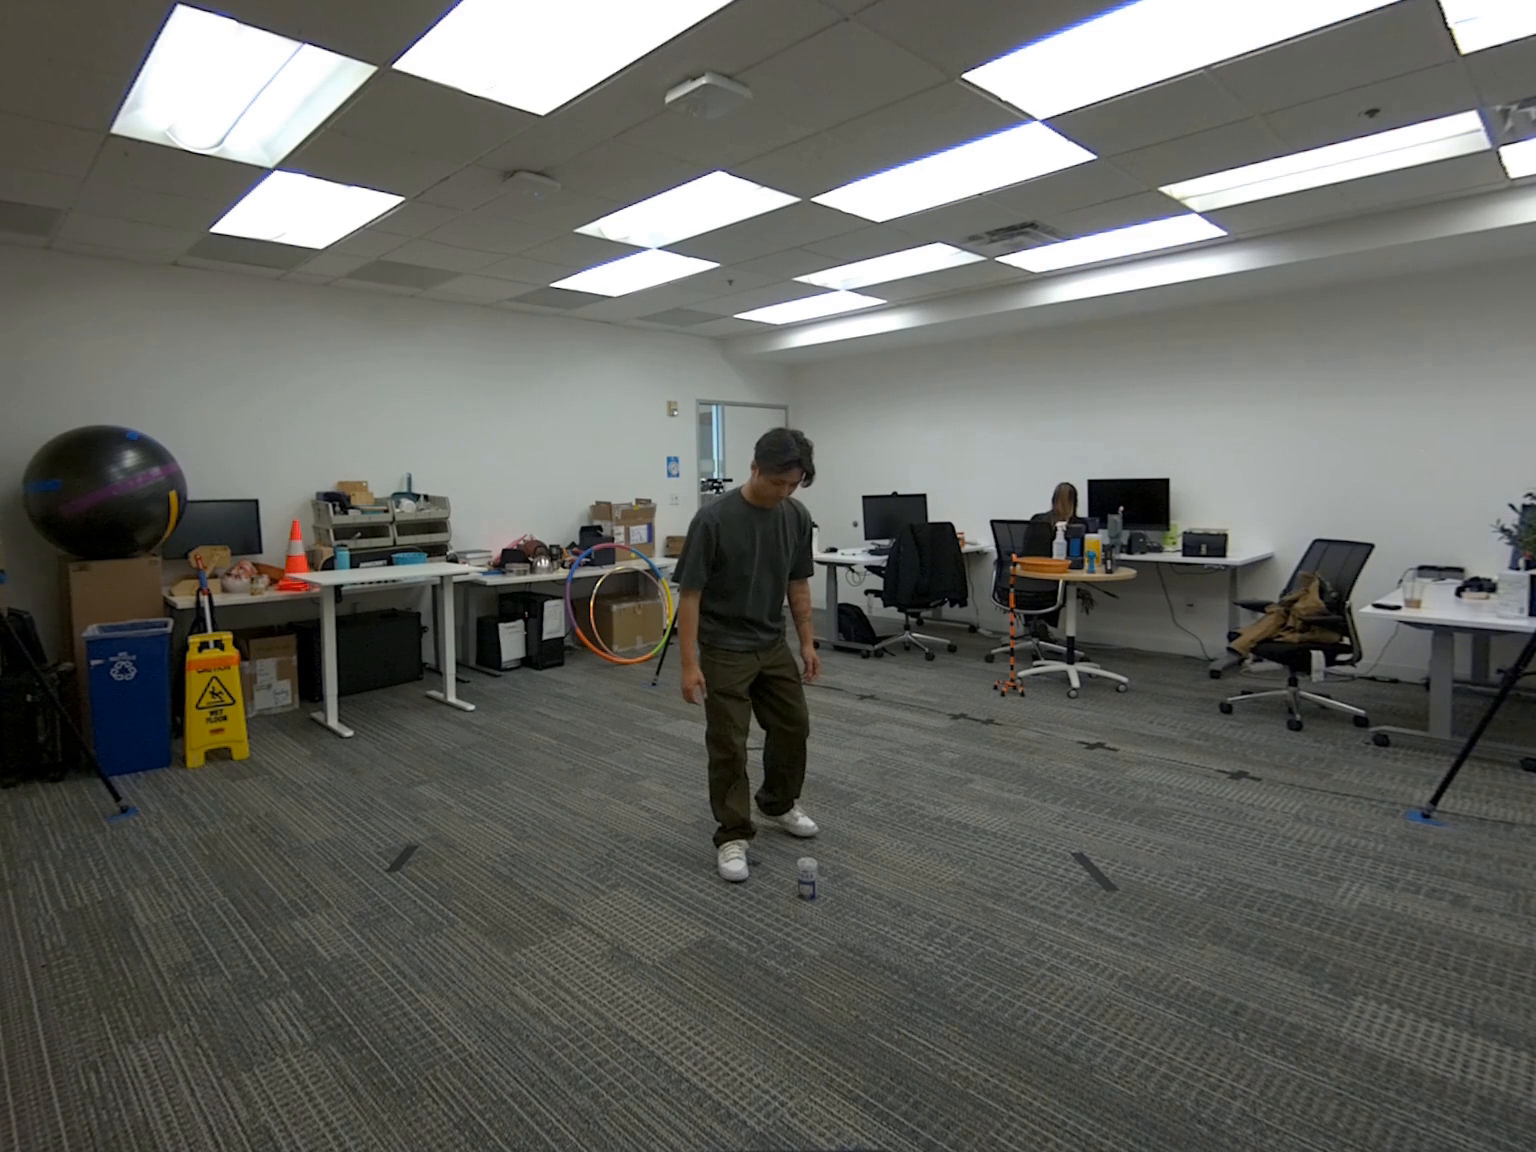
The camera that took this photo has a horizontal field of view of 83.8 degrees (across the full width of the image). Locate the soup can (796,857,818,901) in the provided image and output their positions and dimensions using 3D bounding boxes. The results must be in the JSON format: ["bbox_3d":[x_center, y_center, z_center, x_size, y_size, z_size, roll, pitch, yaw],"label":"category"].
[{"bbox_3d":[0.136,1.018,2.851,0.067,0.121,0.067,-4,6,-1],"label":"soup can"}]
